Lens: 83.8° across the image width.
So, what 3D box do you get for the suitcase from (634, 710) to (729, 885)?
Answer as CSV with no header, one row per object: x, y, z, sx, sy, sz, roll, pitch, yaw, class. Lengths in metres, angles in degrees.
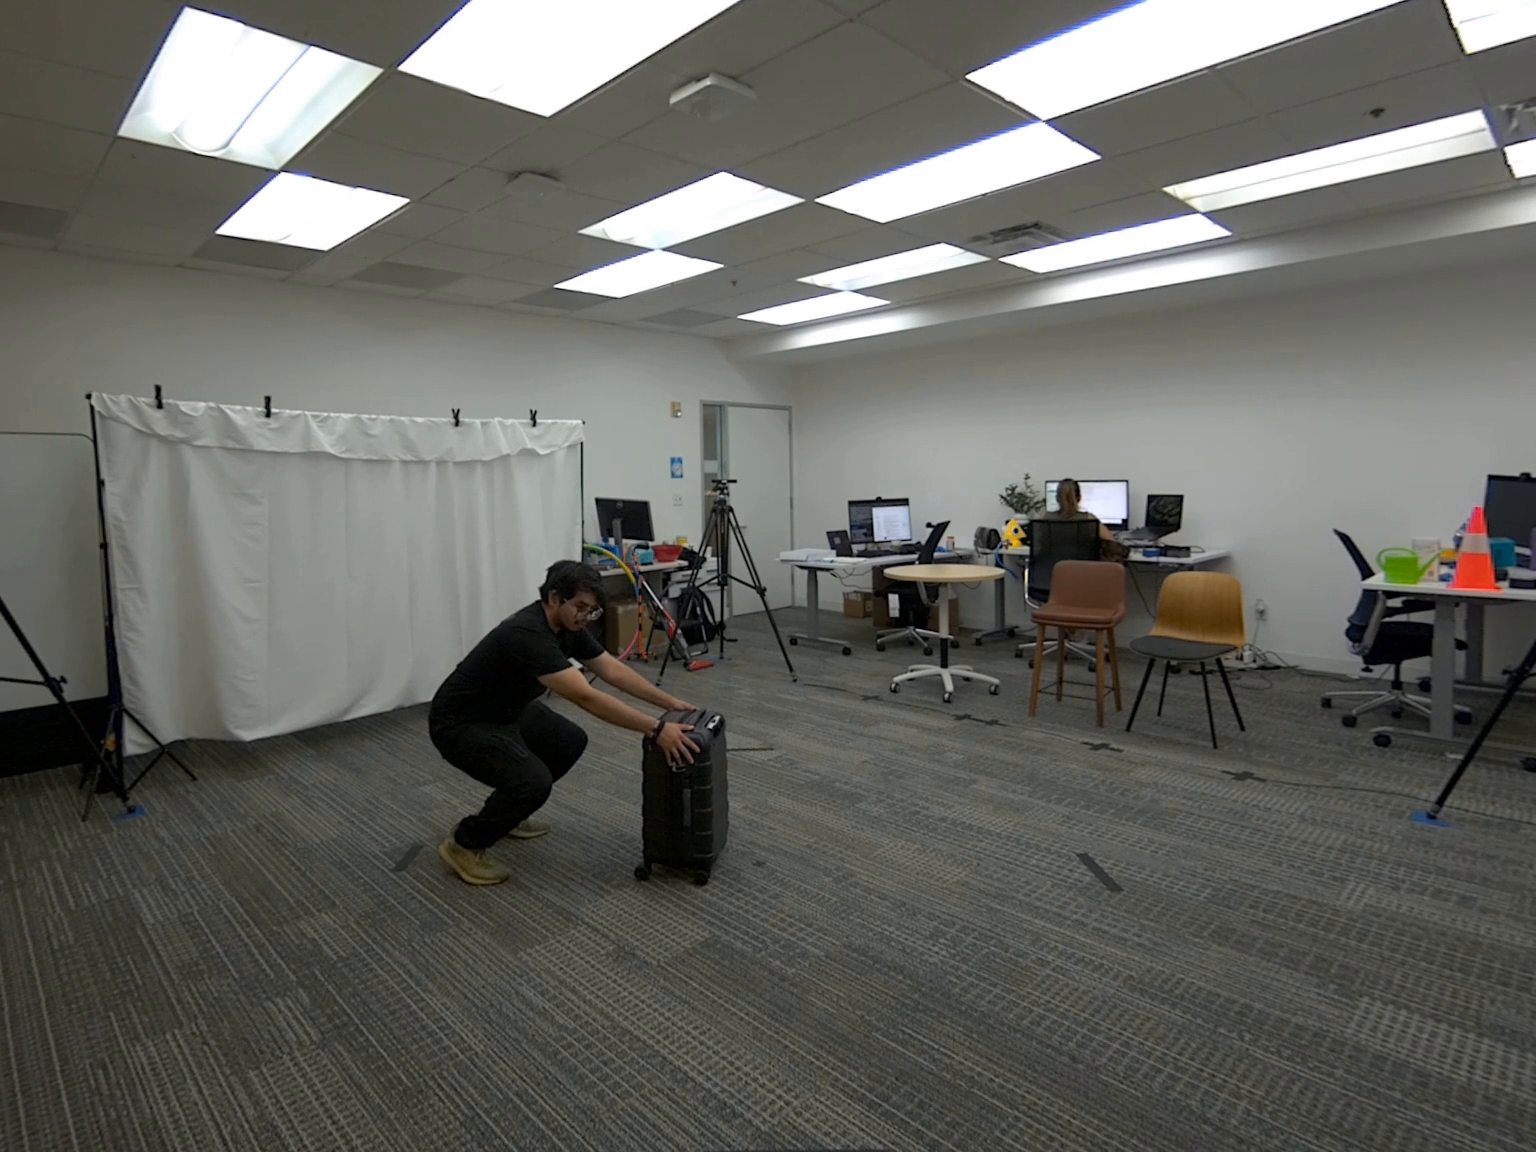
-0.295,0.776,3.102,0.250,0.547,0.374,2,5,7,suitcase
